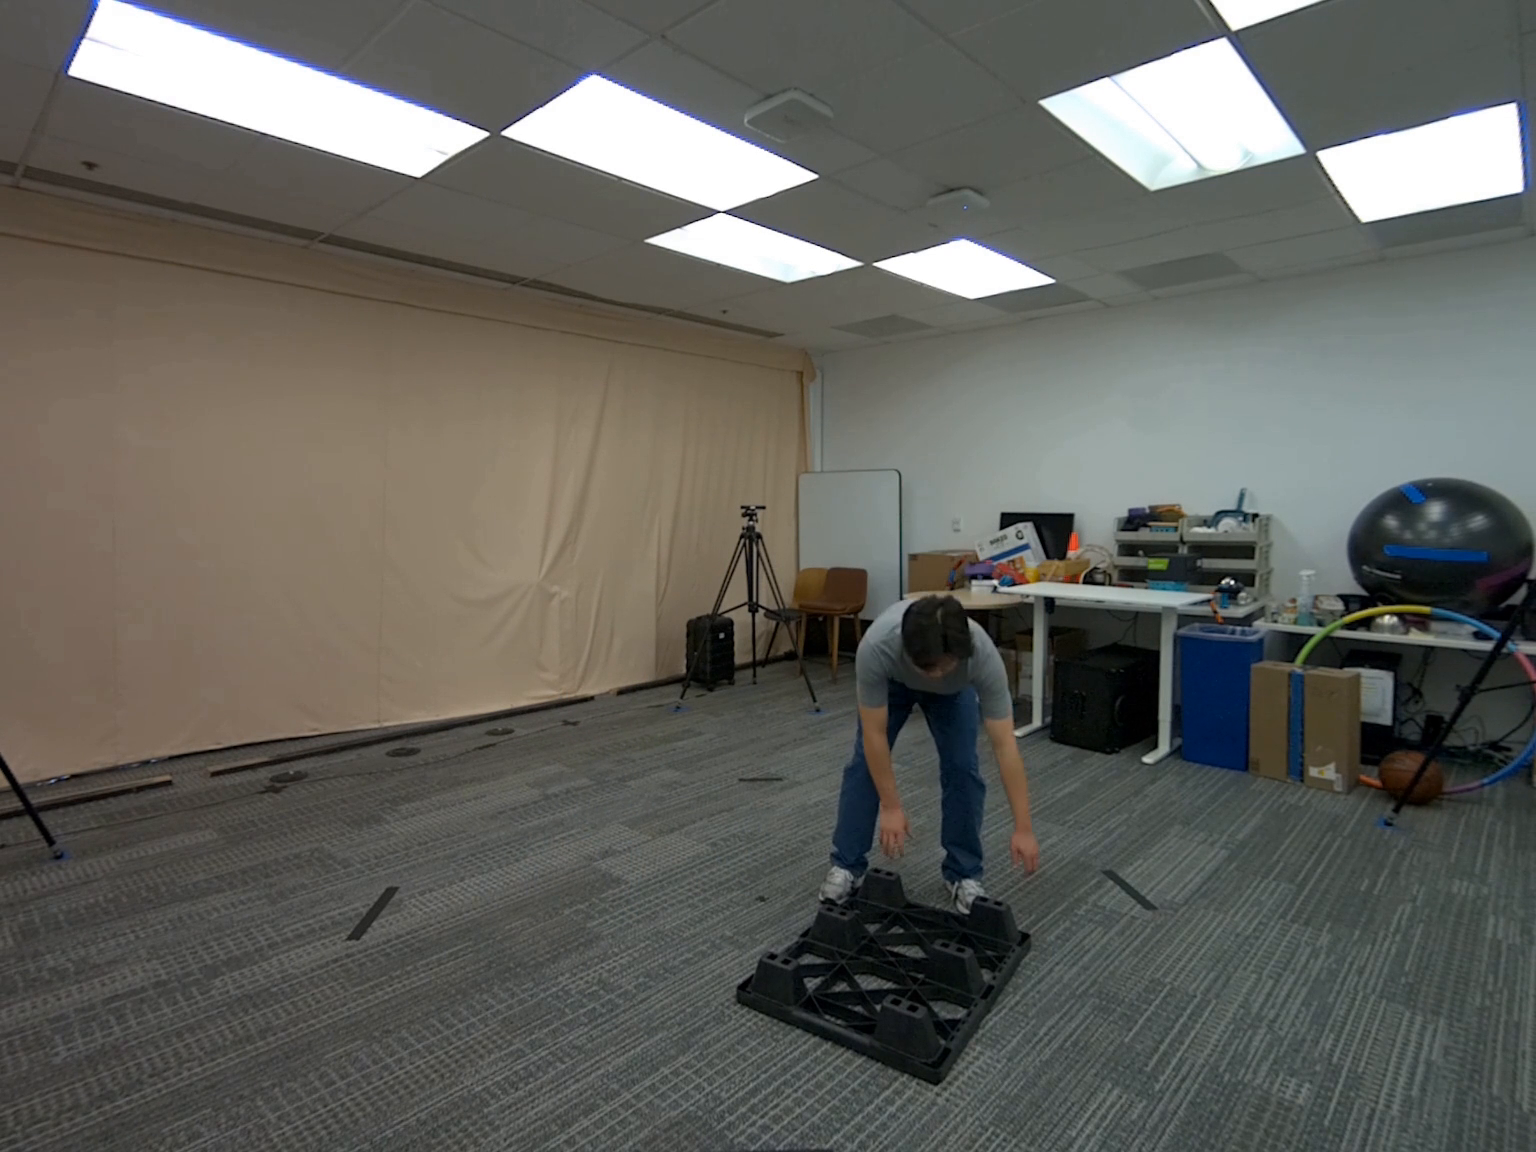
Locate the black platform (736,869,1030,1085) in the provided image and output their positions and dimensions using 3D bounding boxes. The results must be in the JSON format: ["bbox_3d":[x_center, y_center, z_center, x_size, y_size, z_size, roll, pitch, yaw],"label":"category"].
[{"bbox_3d":[0.373,1.118,2.497,0.624,0.143,0.783,3,6,34],"label":"black platform"}]
